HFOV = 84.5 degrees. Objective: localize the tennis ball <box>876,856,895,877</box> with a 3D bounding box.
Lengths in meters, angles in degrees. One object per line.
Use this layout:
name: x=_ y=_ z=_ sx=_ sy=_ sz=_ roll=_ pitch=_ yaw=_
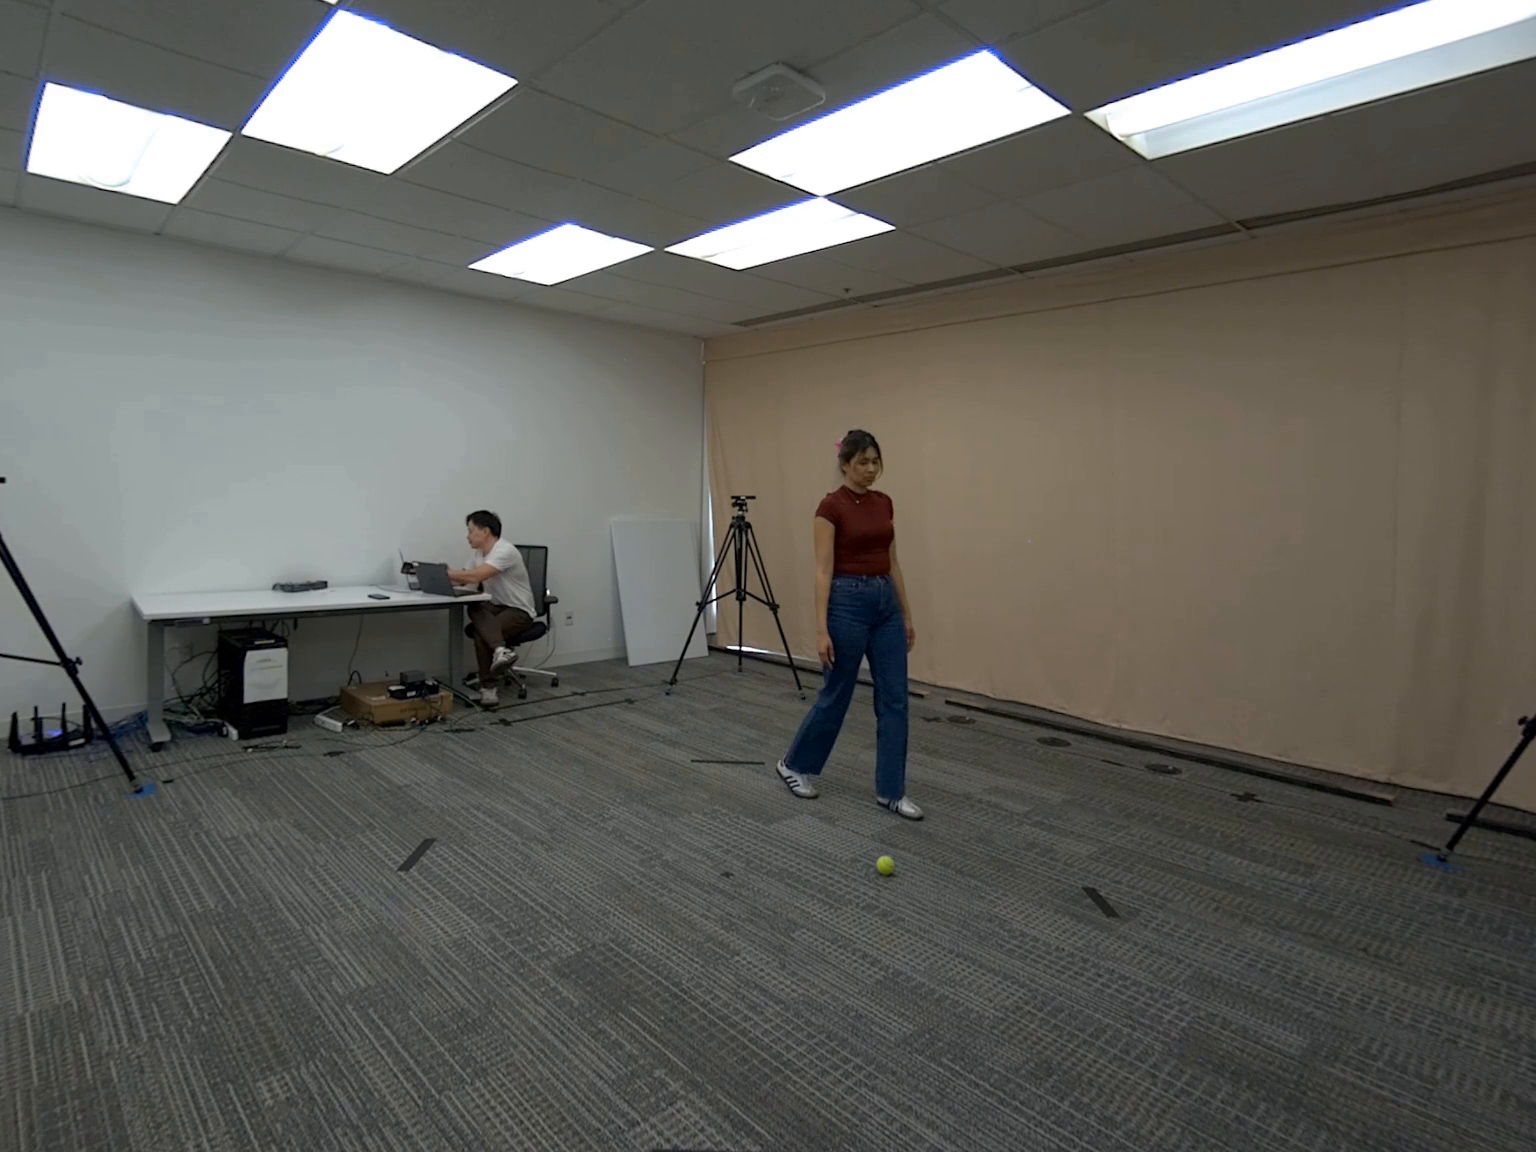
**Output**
tennis ball: x=0.421 y=1.072 z=3.143 sx=0.066 sy=0.066 sz=0.067 roll=1 pitch=4 yaw=-1
